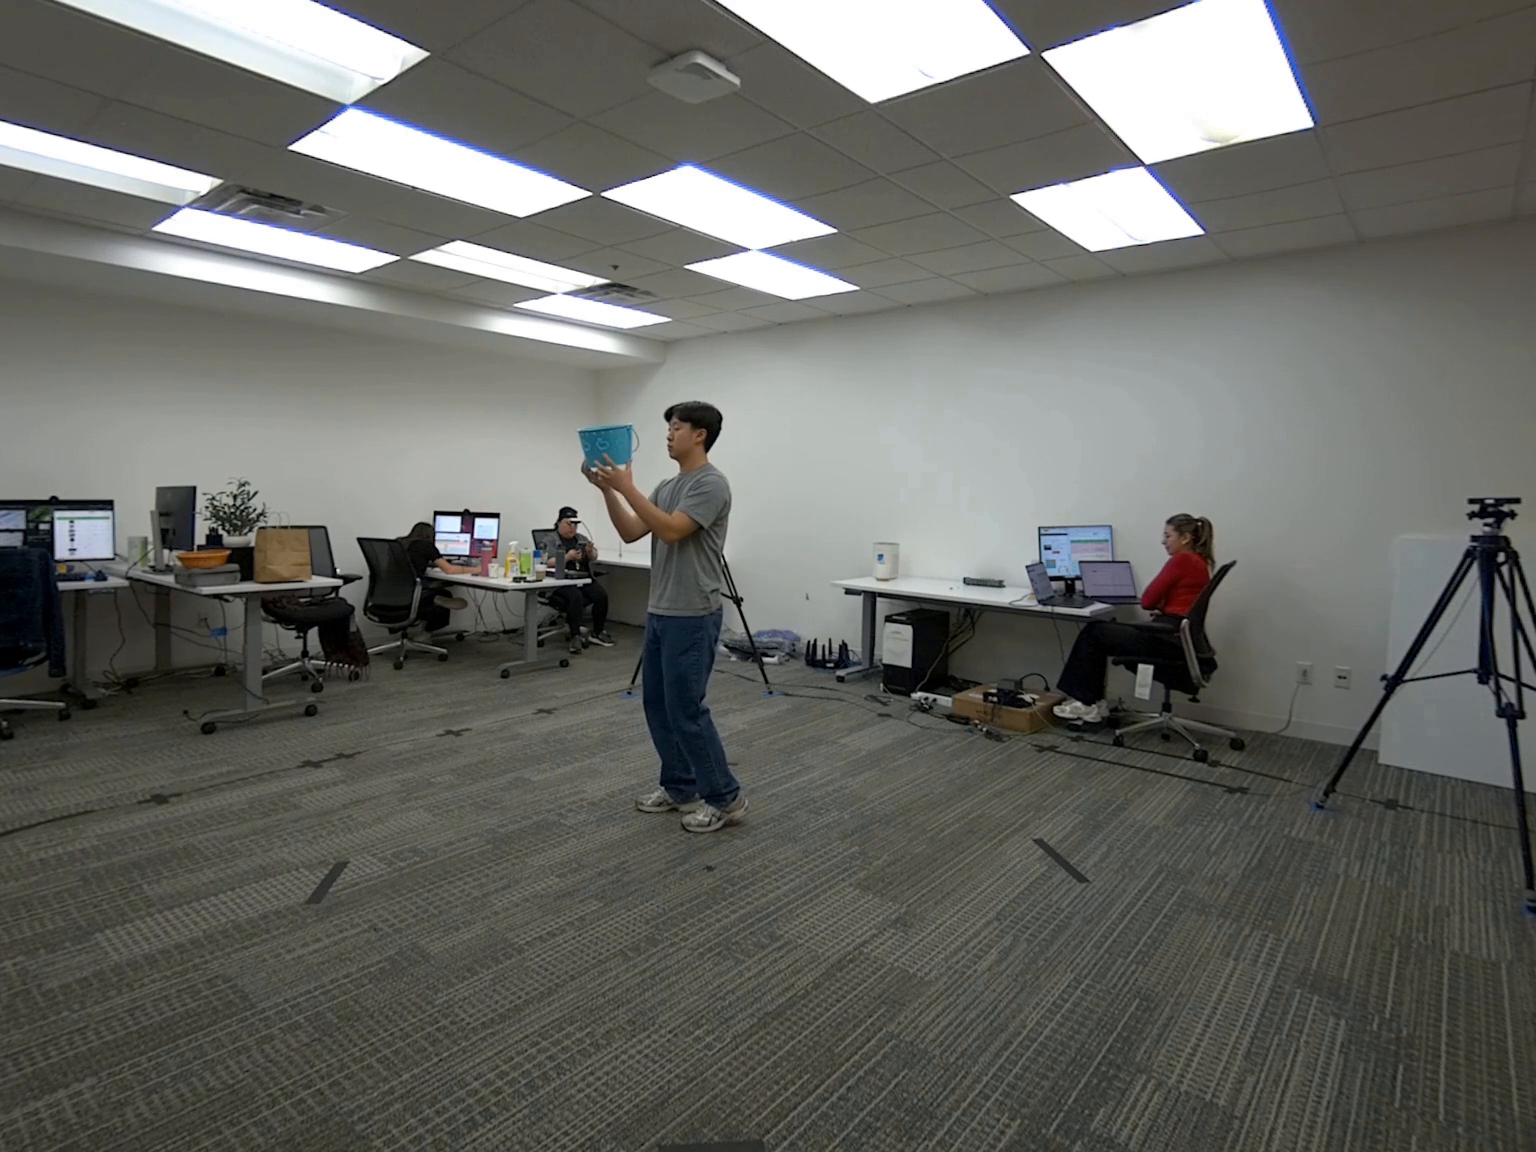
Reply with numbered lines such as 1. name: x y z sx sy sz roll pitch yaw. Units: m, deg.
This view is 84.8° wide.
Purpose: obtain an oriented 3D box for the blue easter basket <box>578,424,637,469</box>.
1. blue easter basket: -0.661 -0.531 3.419 0.243 0.154 0.246 -5 11 -1
